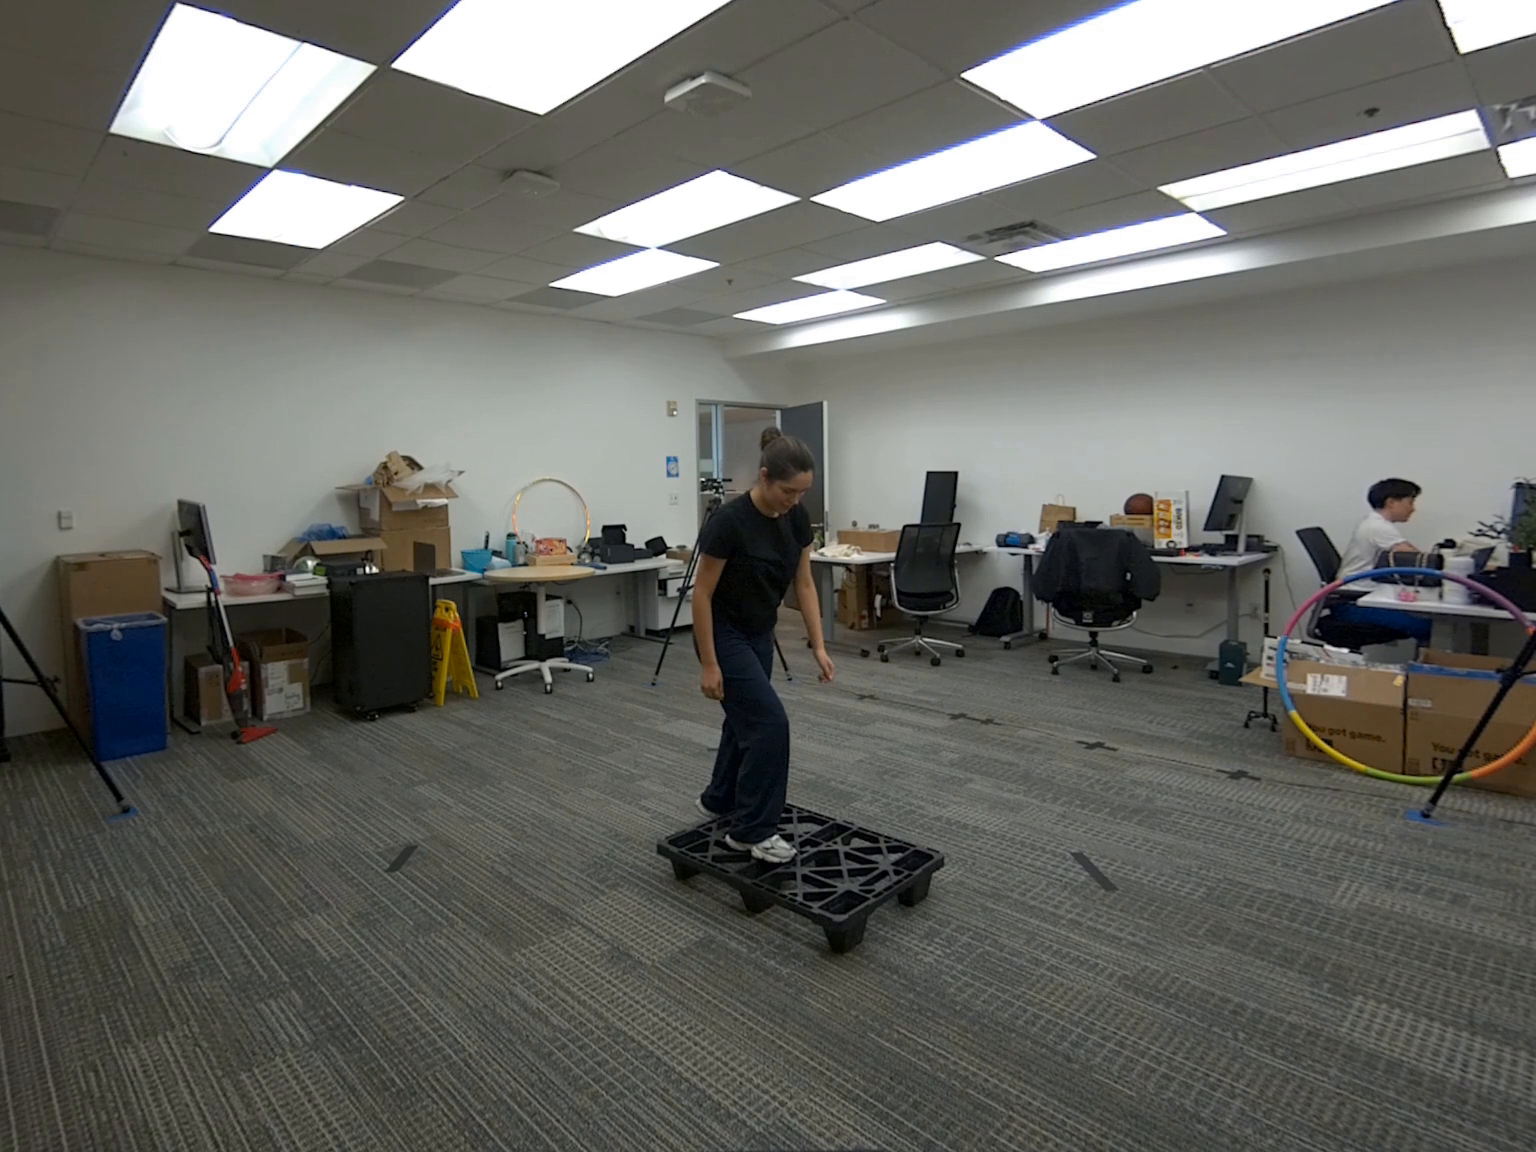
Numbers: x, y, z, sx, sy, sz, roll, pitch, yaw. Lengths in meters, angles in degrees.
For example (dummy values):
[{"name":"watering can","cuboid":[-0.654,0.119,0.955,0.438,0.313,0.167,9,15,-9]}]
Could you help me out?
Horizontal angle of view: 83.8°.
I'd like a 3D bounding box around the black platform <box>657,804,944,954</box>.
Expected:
[{"name":"black platform","cuboid":[0.100,0.997,2.923,0.830,0.143,0.589,4,9,43]}]
